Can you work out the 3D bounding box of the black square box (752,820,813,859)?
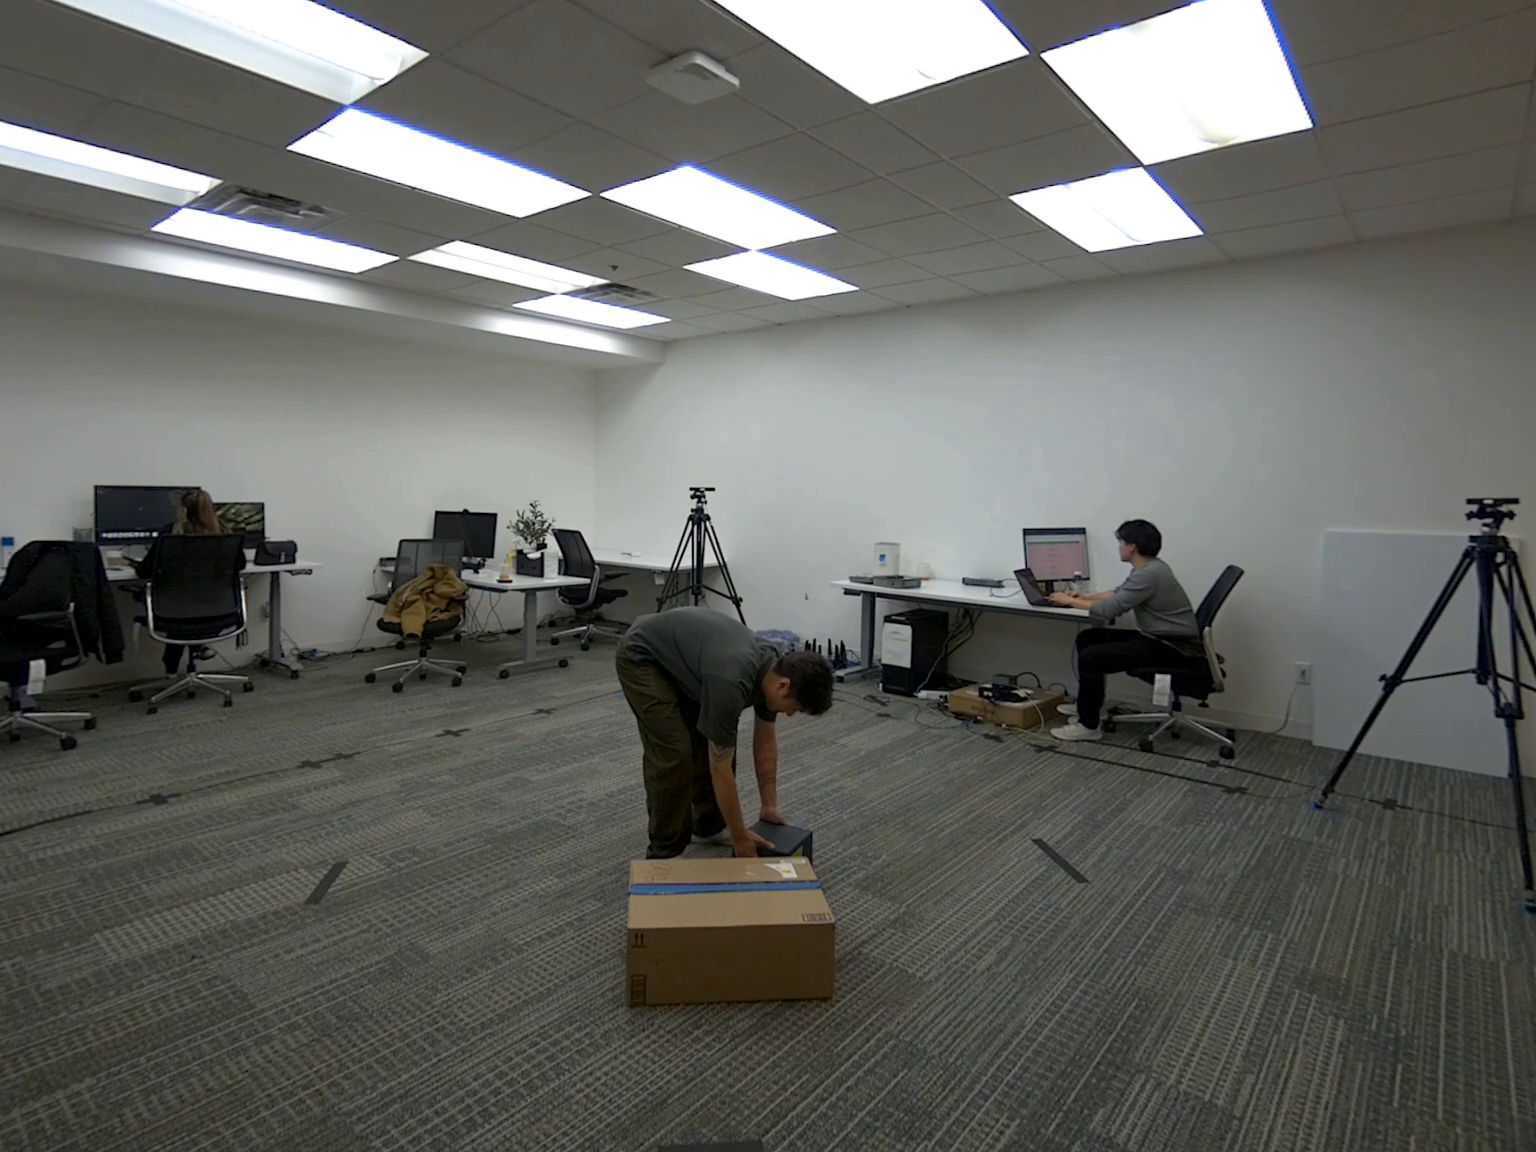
[{"bbox_3d":[0.011,0.998,3.026,0.223,0.155,0.222,4,5,27],"label":"black square box"}]
